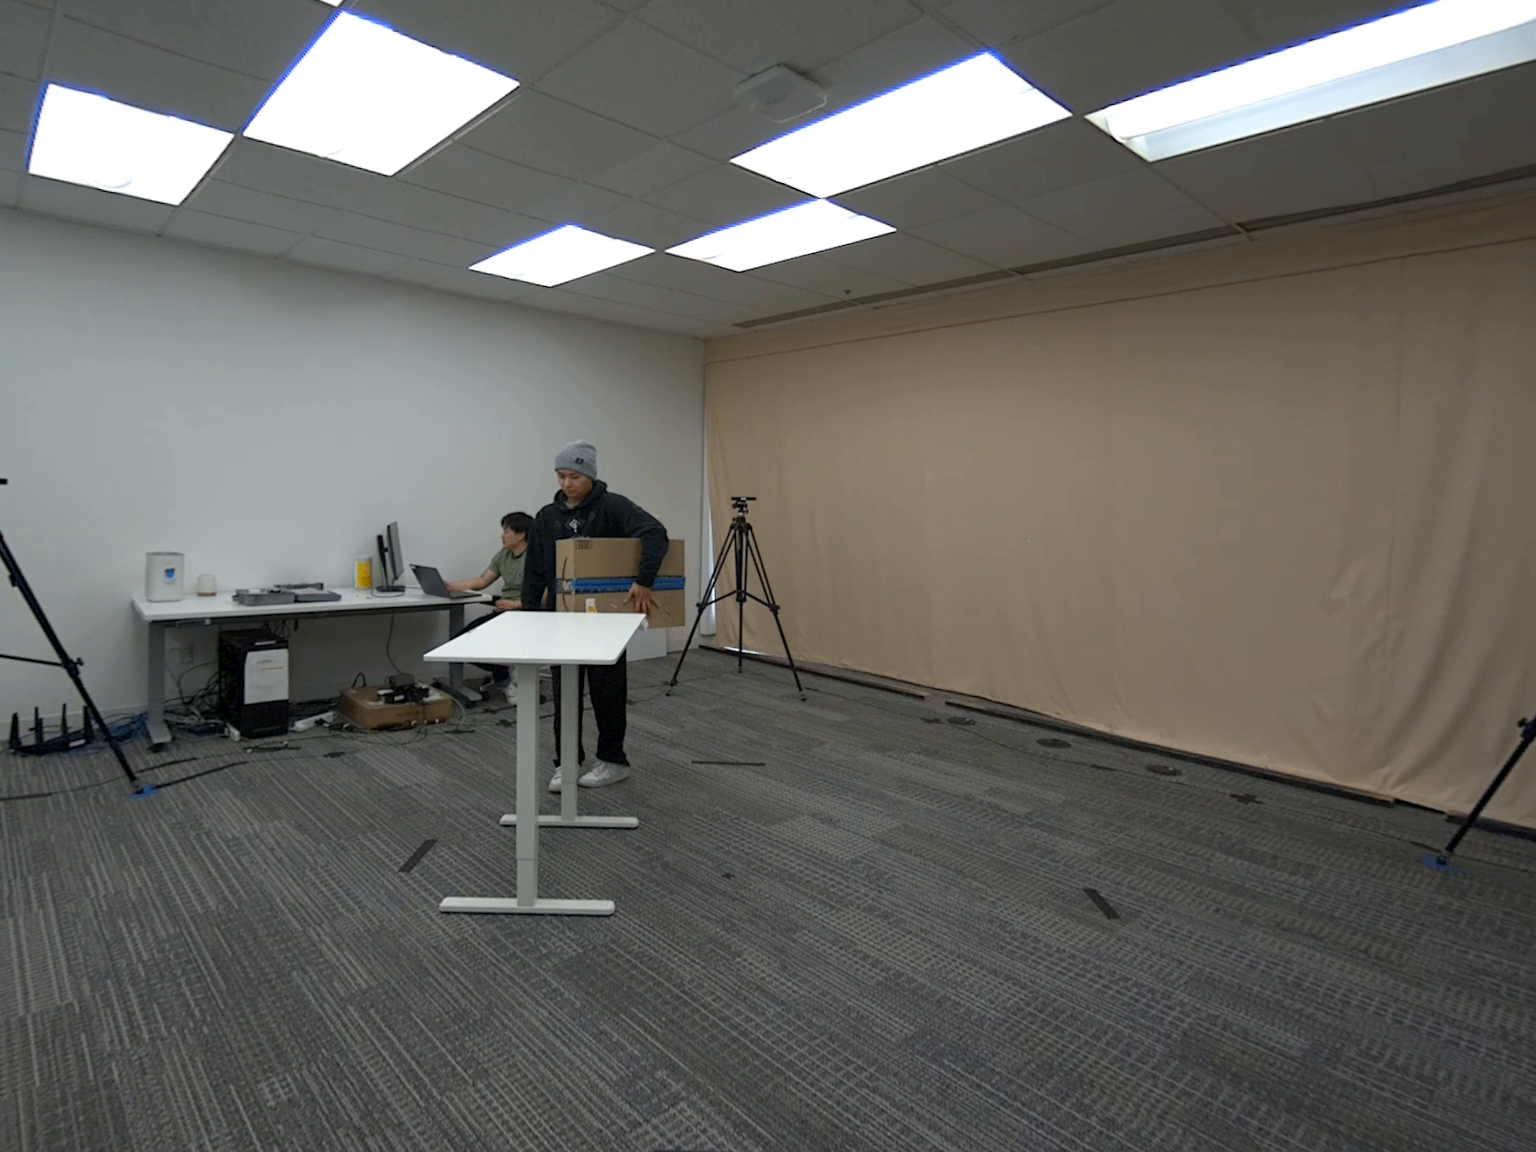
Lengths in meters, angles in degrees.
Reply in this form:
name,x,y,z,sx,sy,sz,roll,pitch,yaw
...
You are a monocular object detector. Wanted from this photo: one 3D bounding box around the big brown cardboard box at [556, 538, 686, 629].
name,x,y,z,sx,sy,sz,roll,pitch,yaw
big brown cardboard box,-0.691,0.038,3.917,0.576,0.418,0.238,-1,-1,-35
